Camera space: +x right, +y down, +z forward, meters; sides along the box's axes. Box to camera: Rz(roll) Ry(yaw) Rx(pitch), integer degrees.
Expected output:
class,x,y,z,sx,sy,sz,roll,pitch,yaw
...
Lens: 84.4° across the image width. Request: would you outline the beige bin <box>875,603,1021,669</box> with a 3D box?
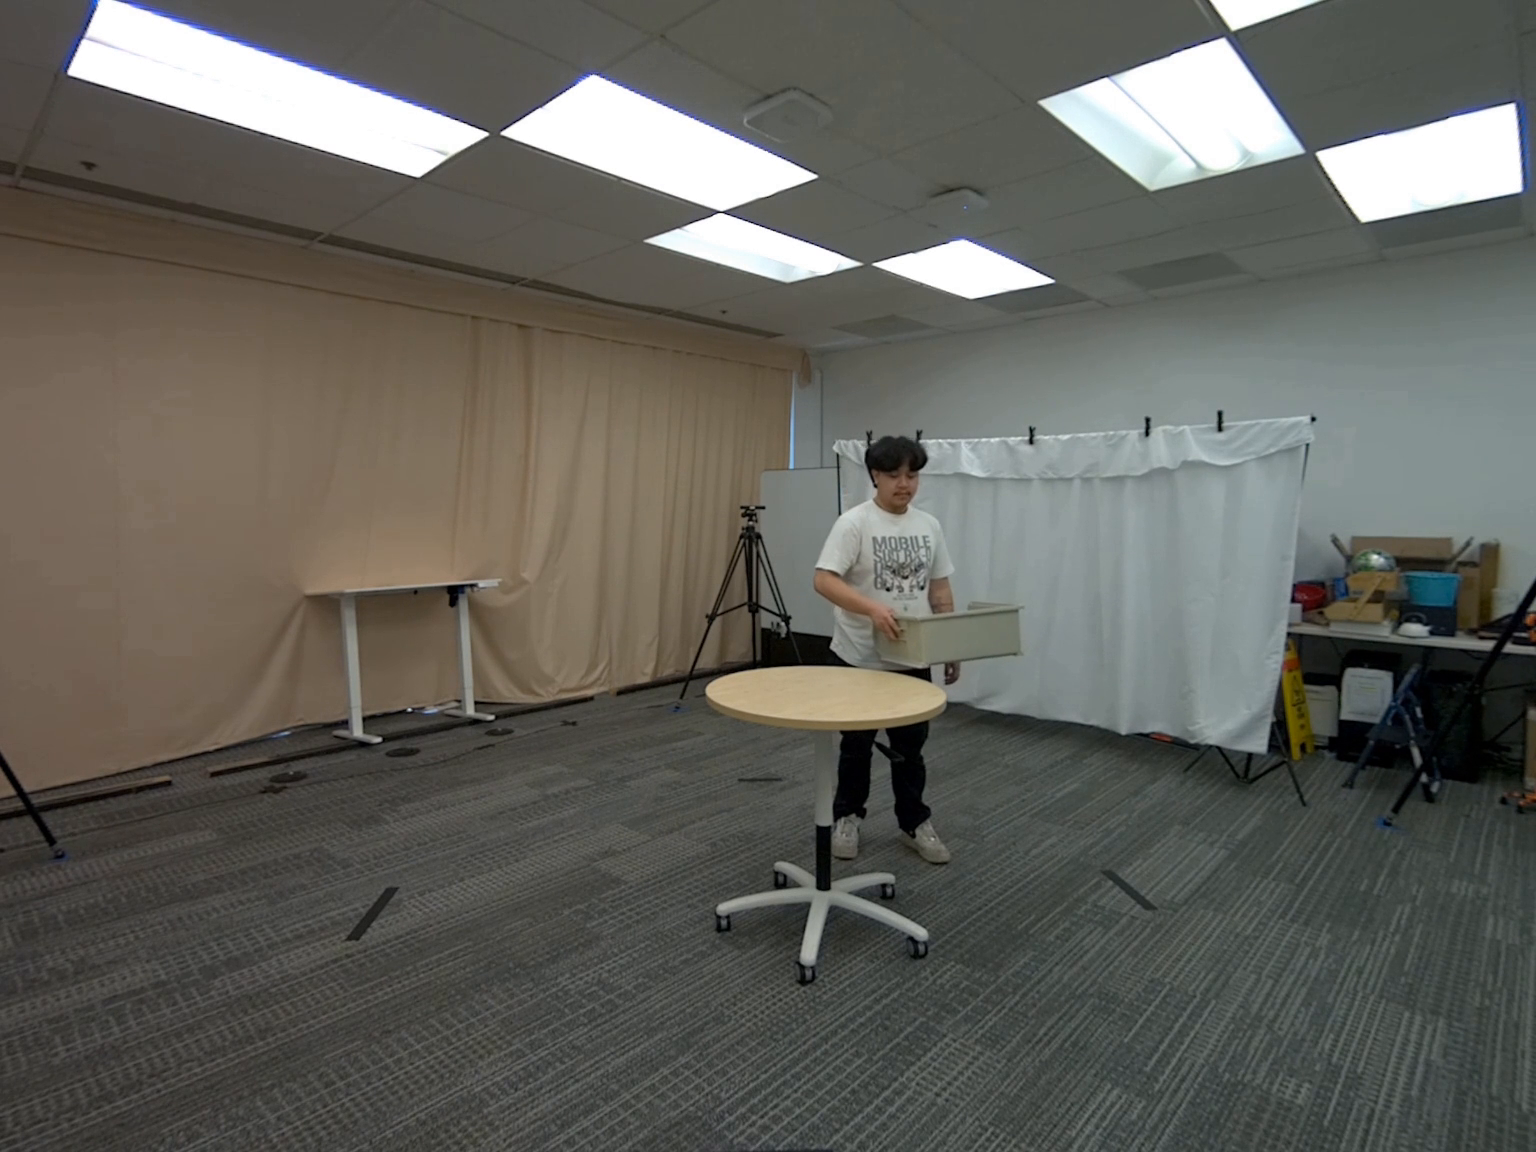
class,x,y,z,sx,sy,sz,roll,pitch,yaw
beige bin,0.656,0.213,3.103,0.416,0.189,0.384,-4,3,-16
